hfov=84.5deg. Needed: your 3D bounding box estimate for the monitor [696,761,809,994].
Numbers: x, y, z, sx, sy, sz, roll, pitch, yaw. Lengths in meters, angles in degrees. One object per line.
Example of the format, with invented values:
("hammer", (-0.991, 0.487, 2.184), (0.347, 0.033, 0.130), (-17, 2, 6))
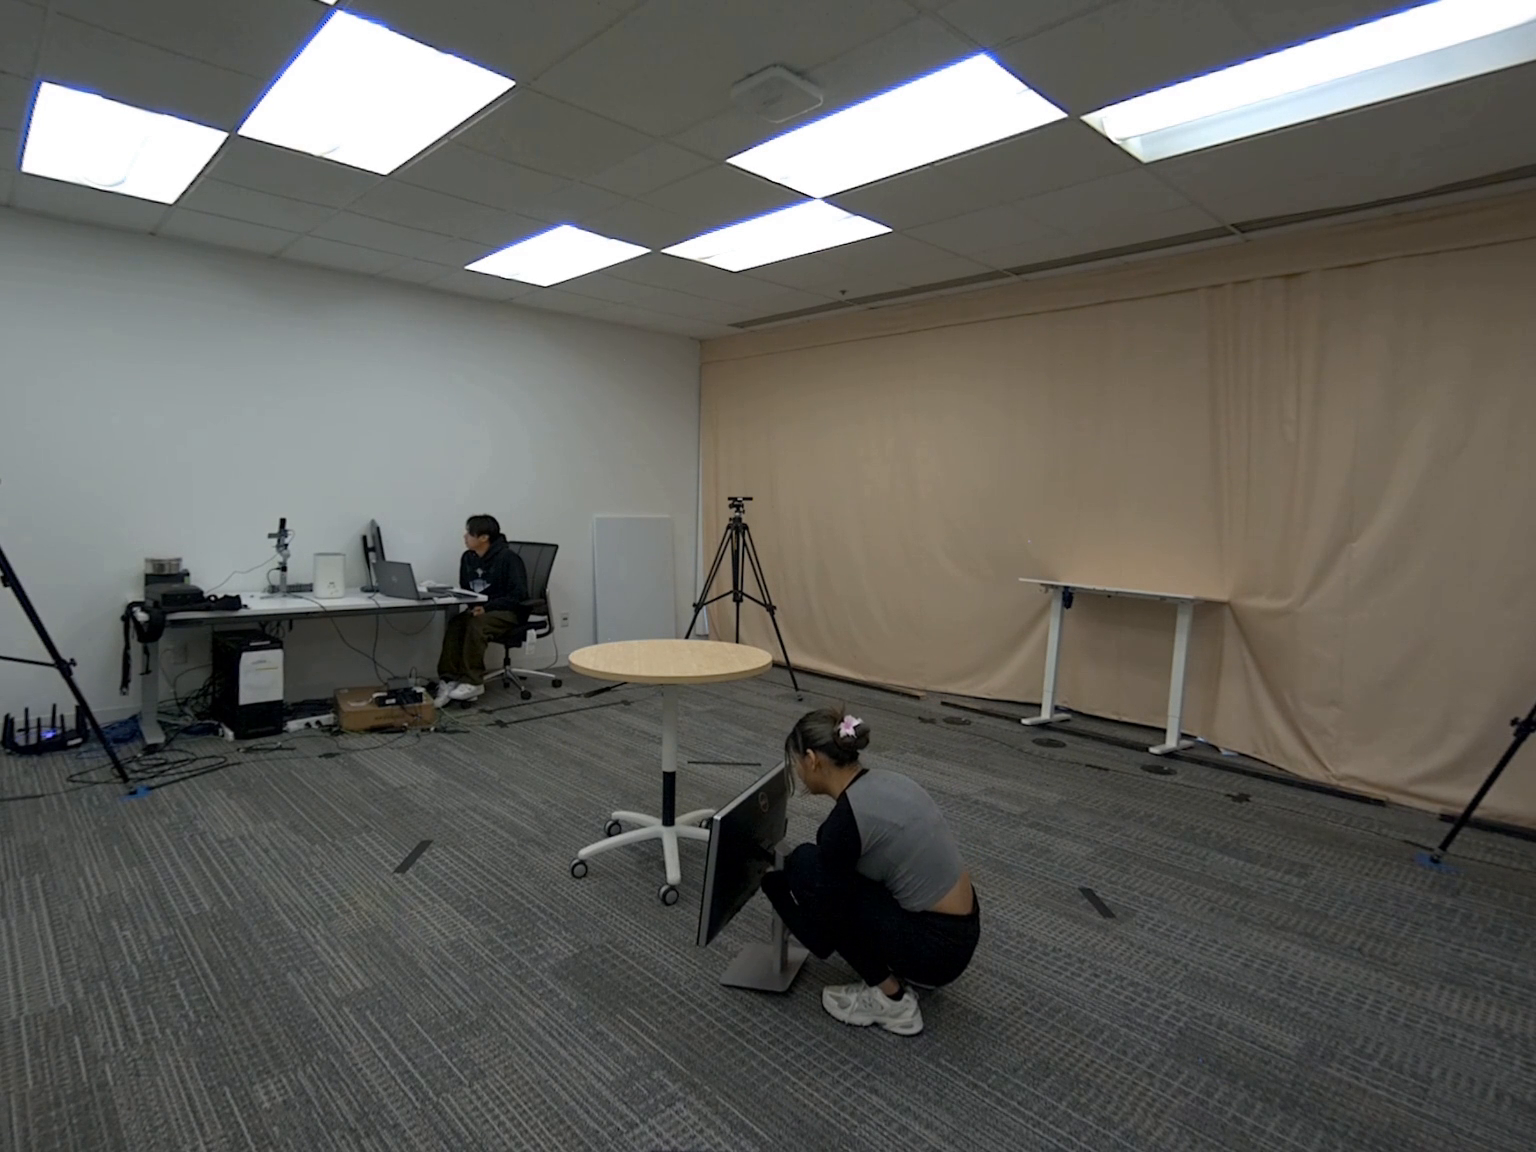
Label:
("monitor", (-0.024, 0.890, 2.477), (0.190, 0.522, 0.532), (-3, 2, 20))
